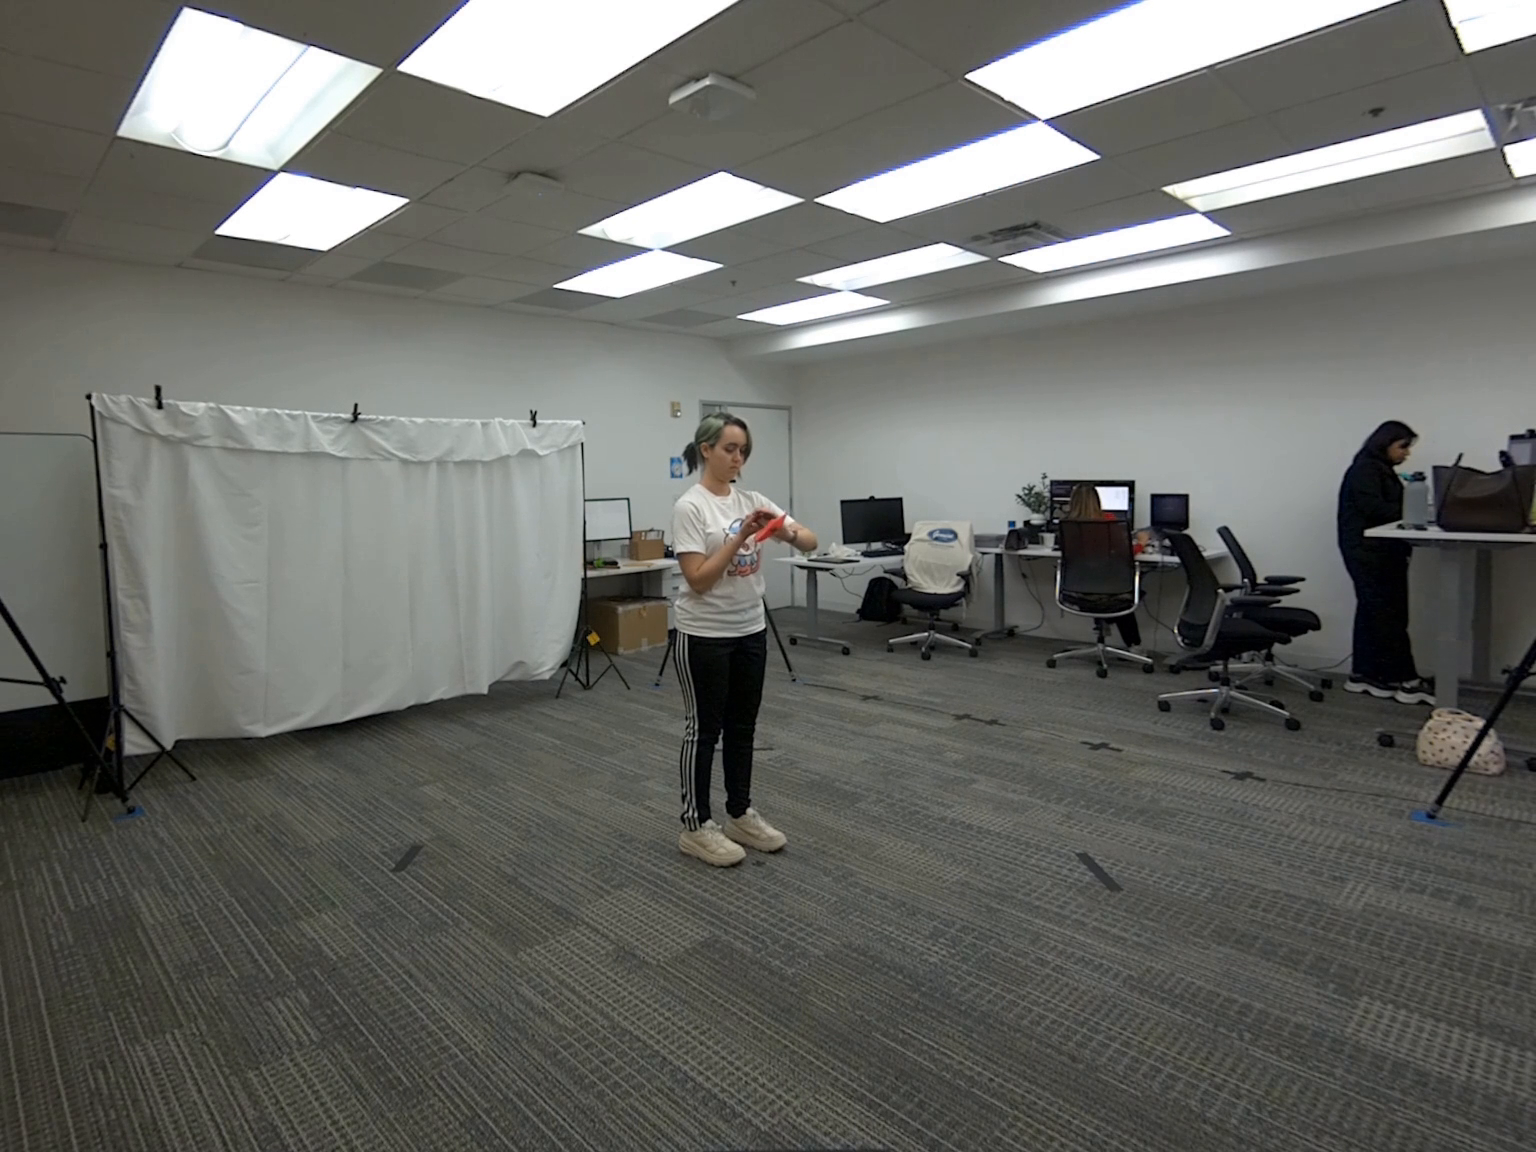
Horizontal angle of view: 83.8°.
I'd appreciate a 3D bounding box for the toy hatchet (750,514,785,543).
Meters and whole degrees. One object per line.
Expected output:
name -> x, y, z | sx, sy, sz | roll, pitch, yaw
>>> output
toy hatchet -> -0.036, -0.157, 2.917 | 0.029, 0.131, 0.275 | 44, -20, -18
